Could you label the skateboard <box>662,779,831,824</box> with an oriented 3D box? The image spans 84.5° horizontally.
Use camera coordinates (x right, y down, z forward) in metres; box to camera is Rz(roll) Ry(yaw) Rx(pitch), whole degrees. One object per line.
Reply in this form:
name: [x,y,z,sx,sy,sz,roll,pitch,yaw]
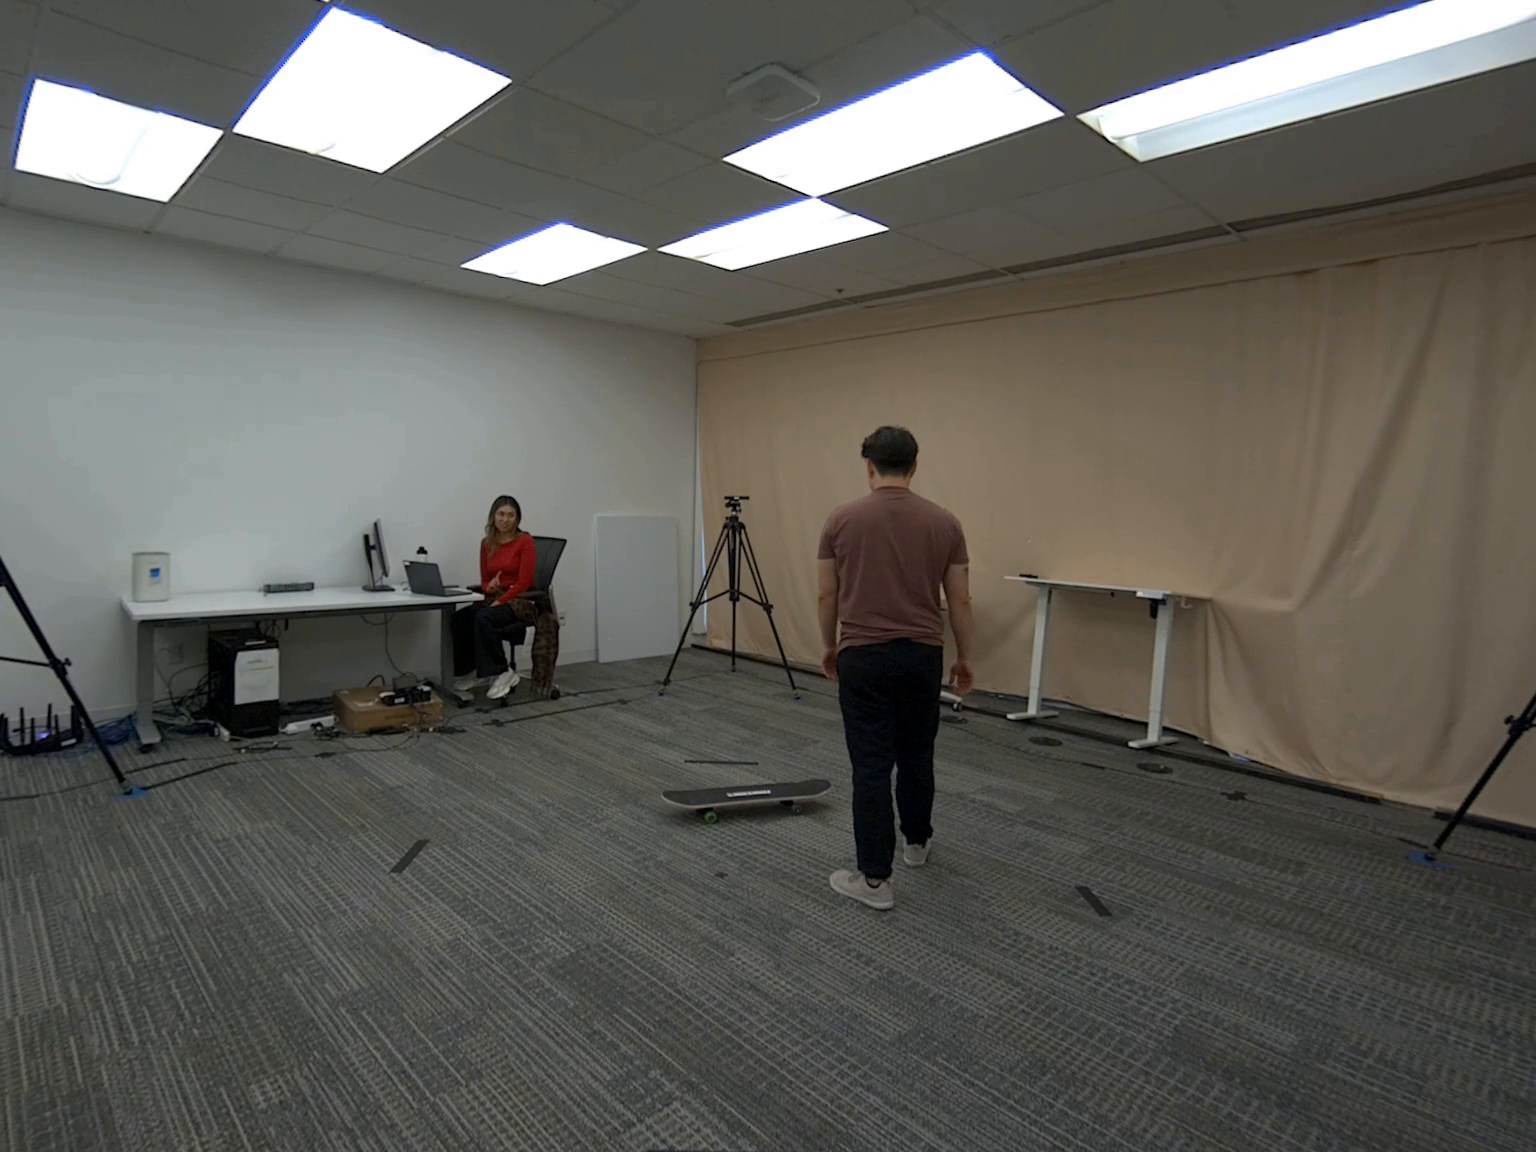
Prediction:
skateboard: [-0.094,0.994,3.734,0.775,0.110,0.196,0,5,-18]
